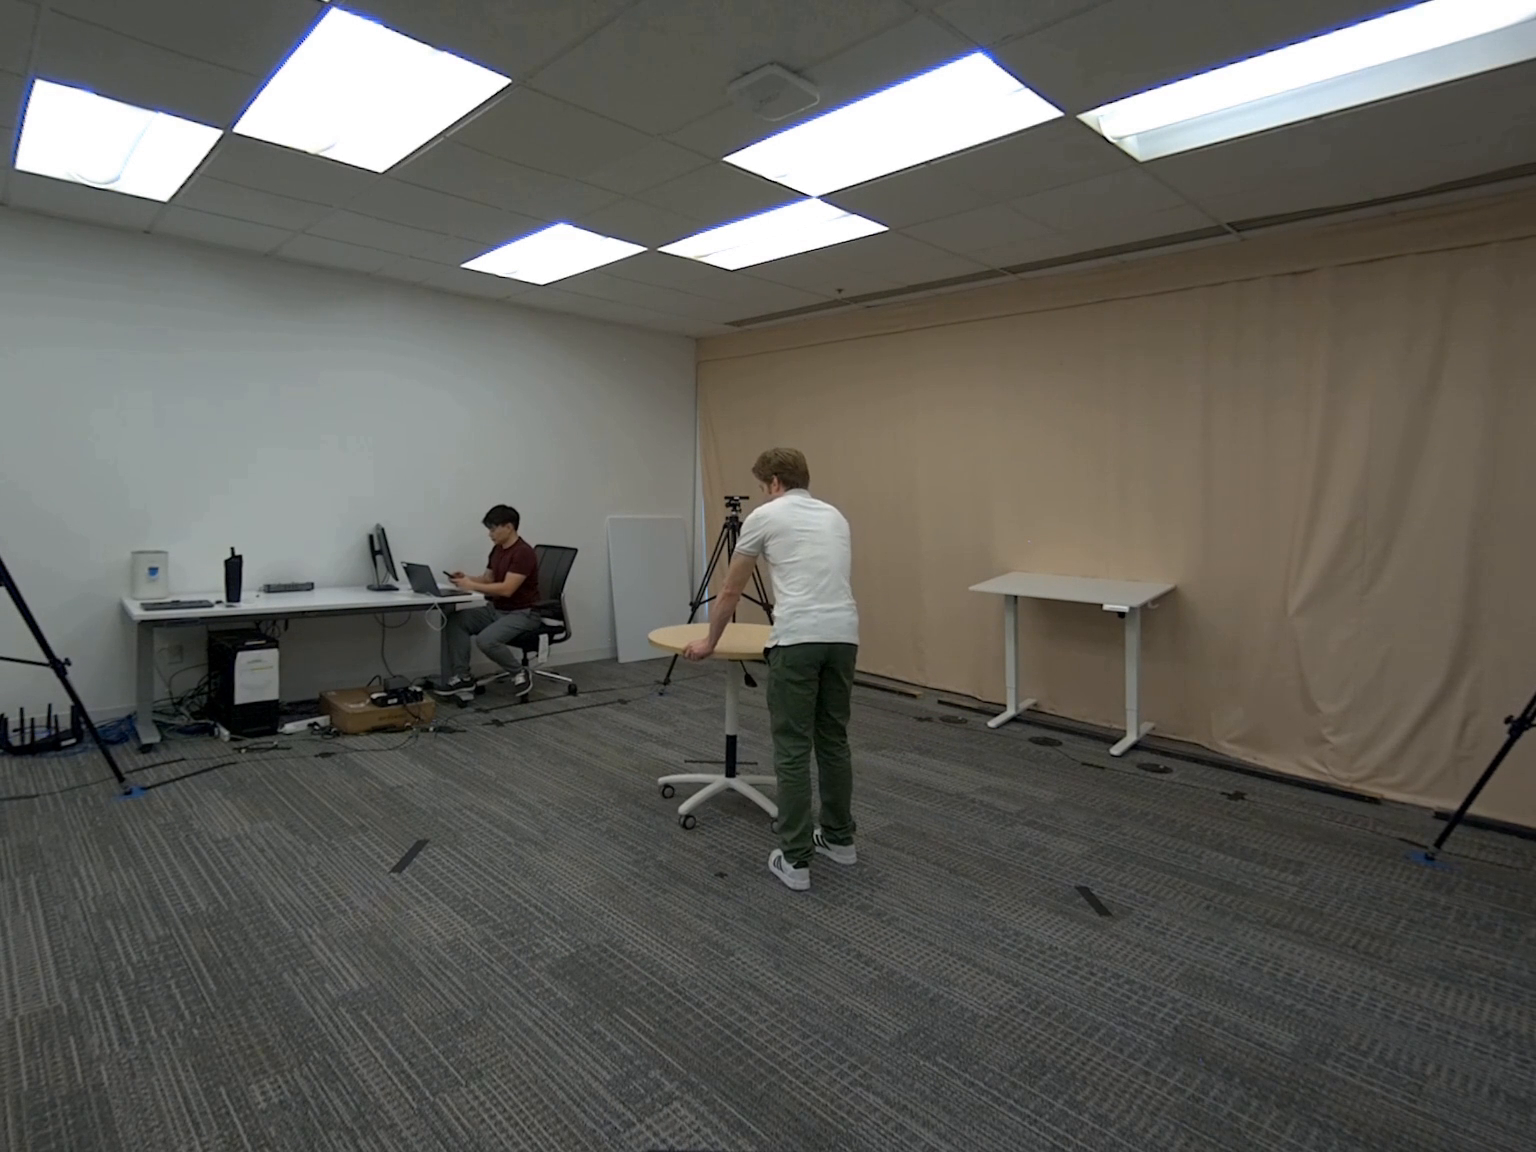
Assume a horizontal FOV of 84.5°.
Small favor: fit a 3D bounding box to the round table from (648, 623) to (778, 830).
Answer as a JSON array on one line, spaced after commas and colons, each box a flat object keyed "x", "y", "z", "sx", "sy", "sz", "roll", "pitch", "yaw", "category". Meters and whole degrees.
[{"x": -0.170, "y": 0.659, "z": 3.780, "sx": 0.763, "sy": 0.792, "sz": 0.766, "roll": 1, "pitch": 4, "yaw": -1, "category": "round table"}]
